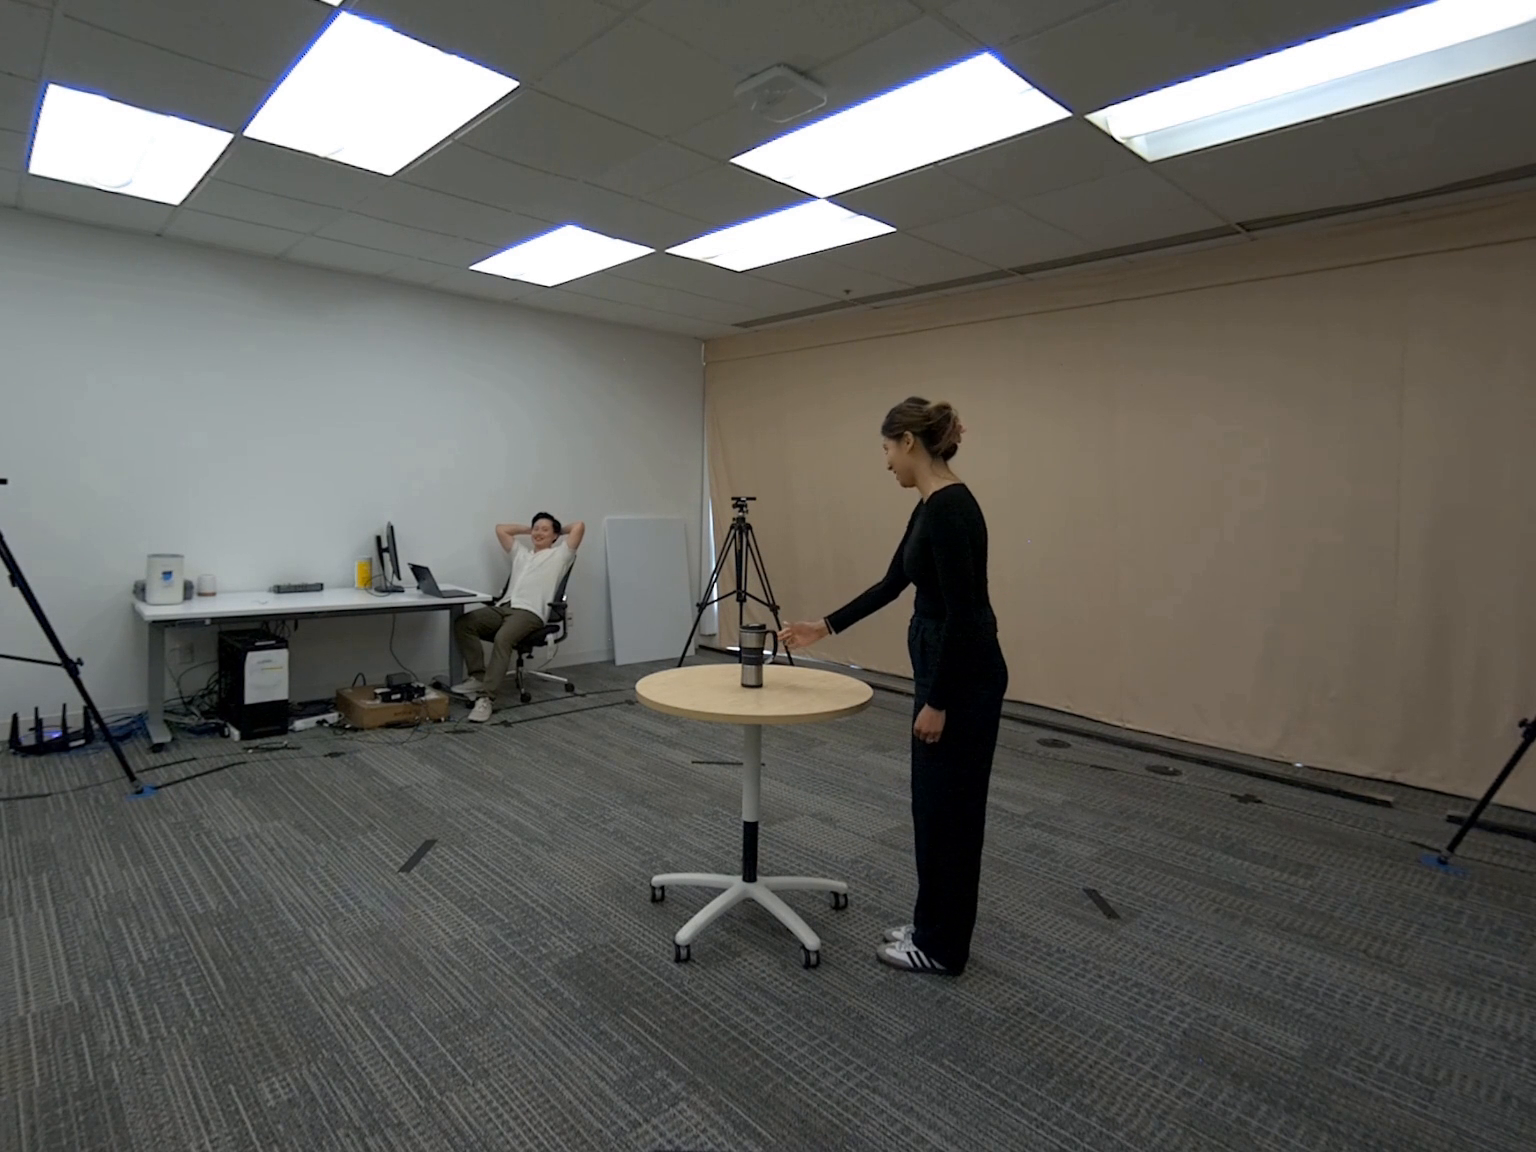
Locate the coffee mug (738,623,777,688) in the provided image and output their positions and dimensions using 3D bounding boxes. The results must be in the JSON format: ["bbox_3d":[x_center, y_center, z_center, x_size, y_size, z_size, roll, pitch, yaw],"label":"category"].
[{"bbox_3d":[-0.041,0.263,2.714,0.086,0.203,0.125,3,-3,-39],"label":"coffee mug"}]
